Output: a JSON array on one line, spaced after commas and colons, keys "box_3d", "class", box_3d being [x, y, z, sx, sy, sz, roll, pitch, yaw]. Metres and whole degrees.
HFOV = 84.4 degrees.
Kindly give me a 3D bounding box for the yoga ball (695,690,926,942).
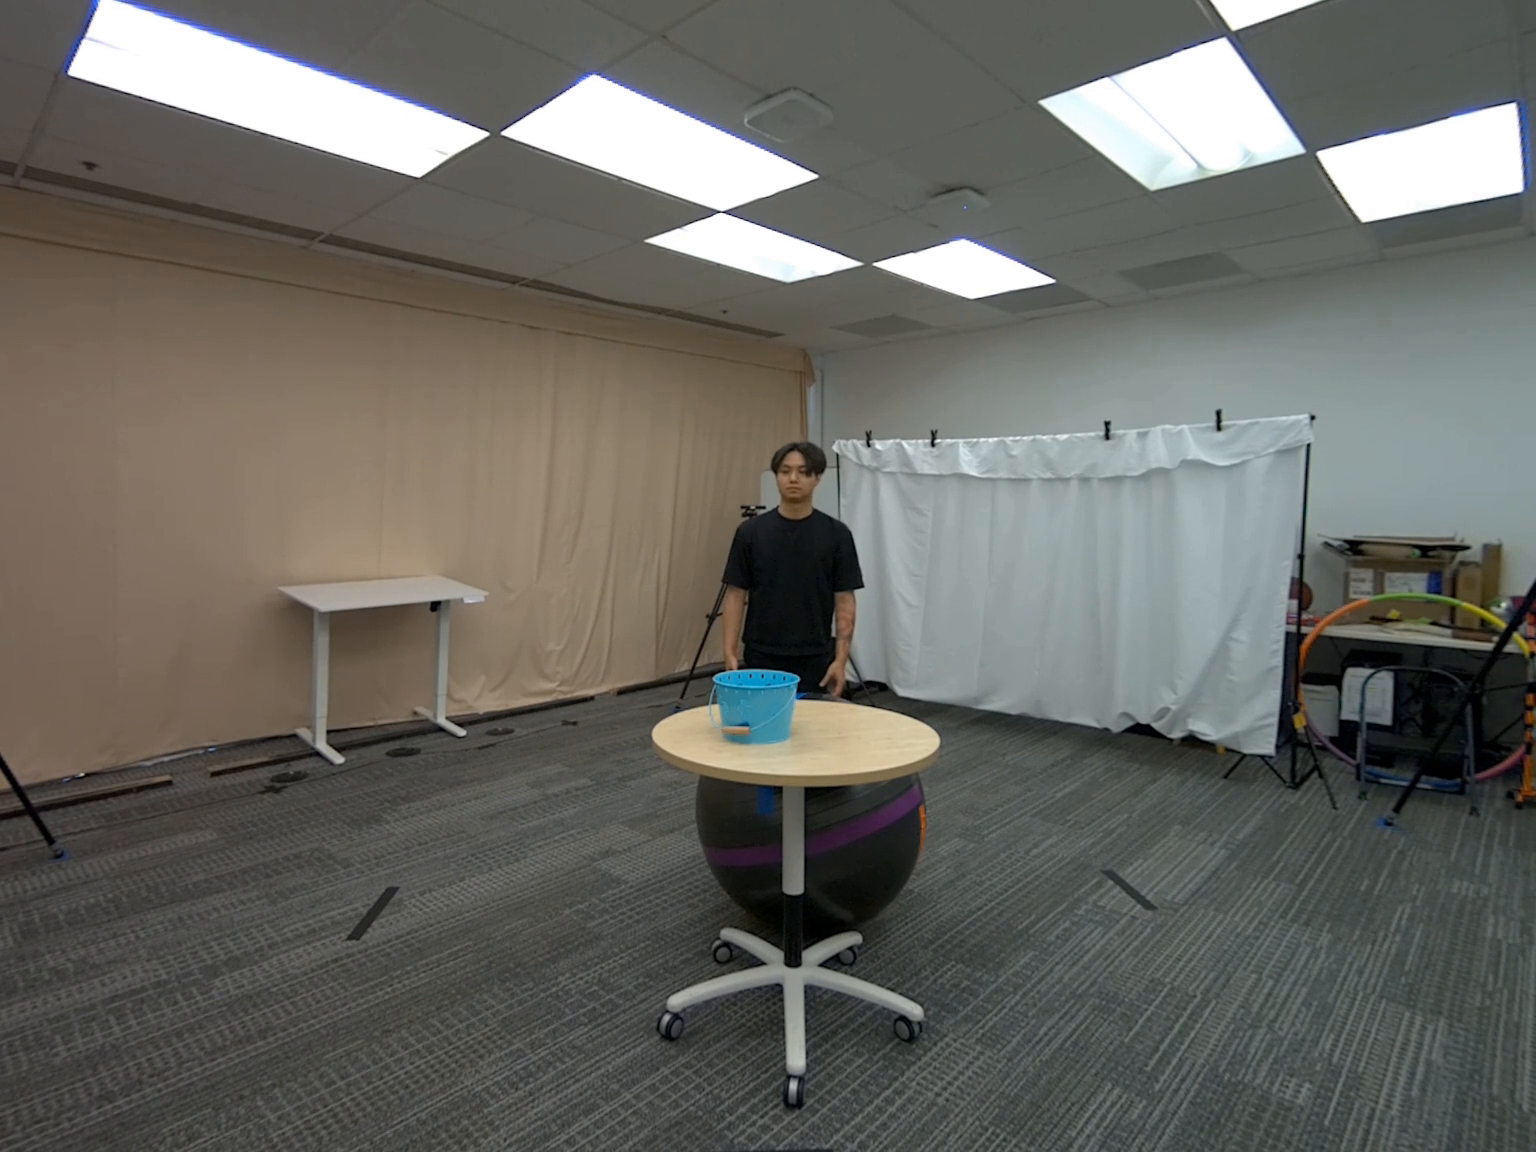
[{"box_3d": [0.141, 0.785, 2.812, 0.757, 0.756, 0.760, 0, 4, -2], "class": "yoga ball"}]
